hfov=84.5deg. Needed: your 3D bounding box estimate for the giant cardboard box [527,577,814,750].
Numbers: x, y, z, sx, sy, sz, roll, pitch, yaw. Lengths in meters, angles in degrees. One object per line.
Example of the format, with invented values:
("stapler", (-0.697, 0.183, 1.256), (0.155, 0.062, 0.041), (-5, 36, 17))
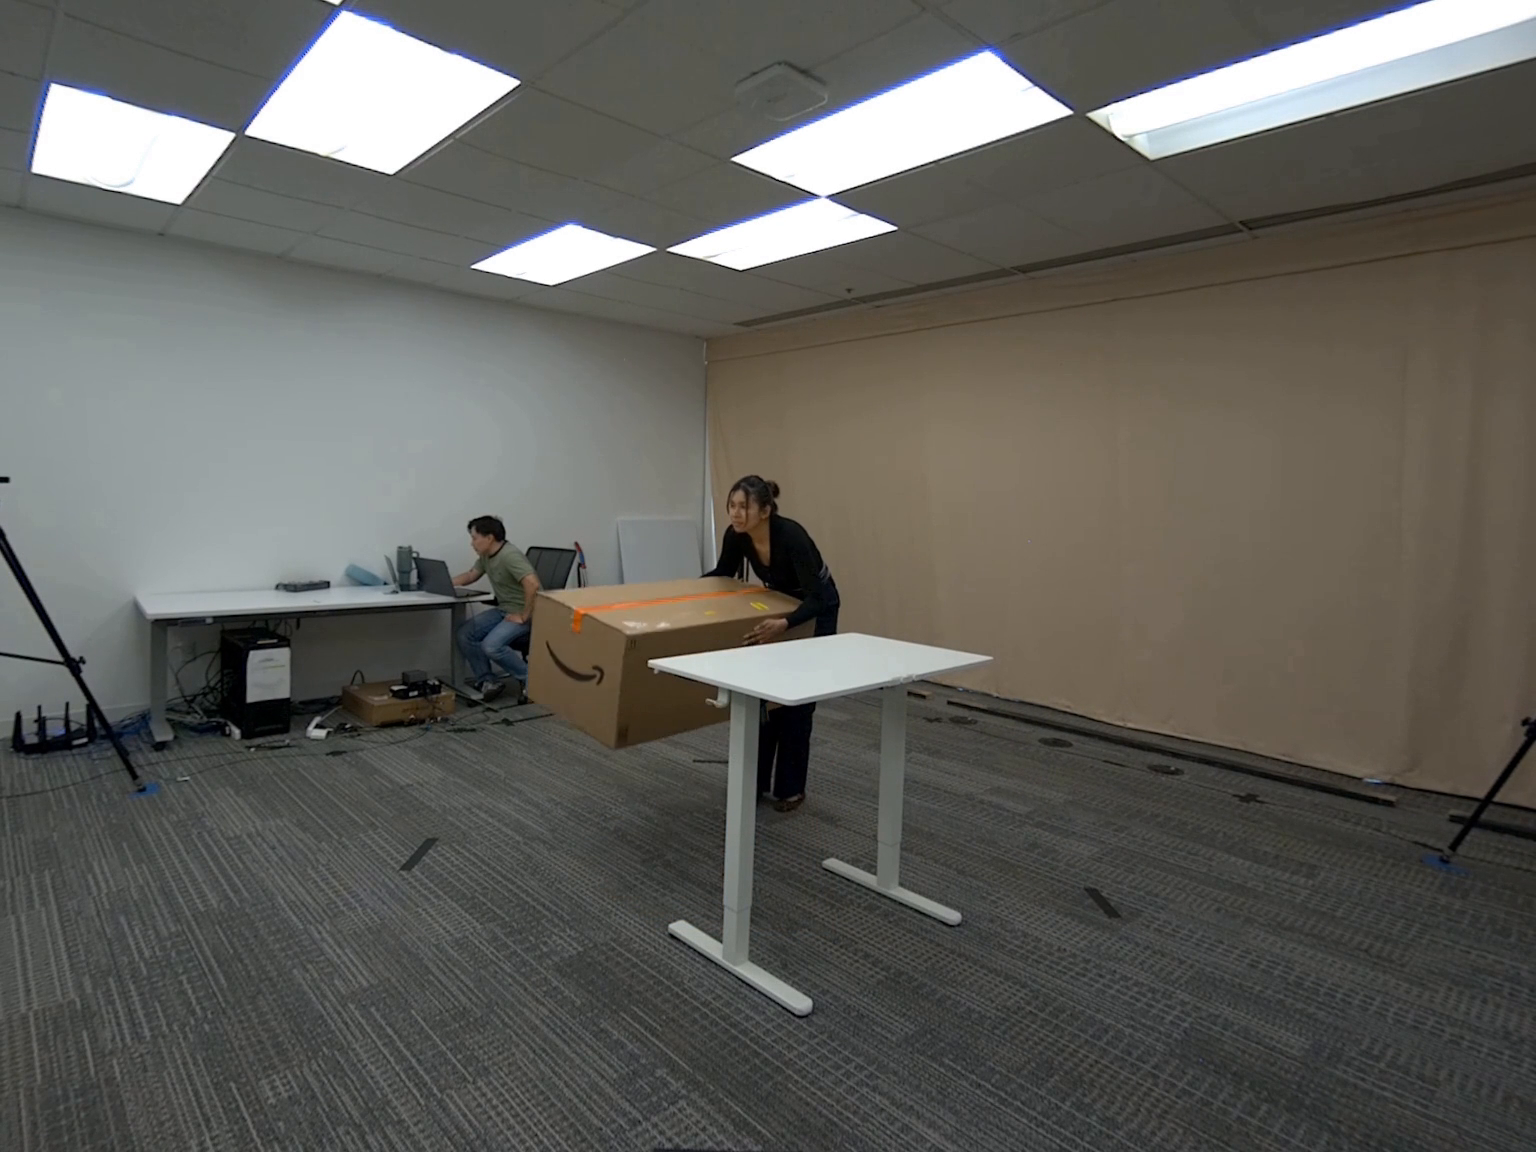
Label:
("giant cardboard box", (-0.375, 0.301, 3.409), (0.594, 0.423, 1.003), (18, 15, 41))
